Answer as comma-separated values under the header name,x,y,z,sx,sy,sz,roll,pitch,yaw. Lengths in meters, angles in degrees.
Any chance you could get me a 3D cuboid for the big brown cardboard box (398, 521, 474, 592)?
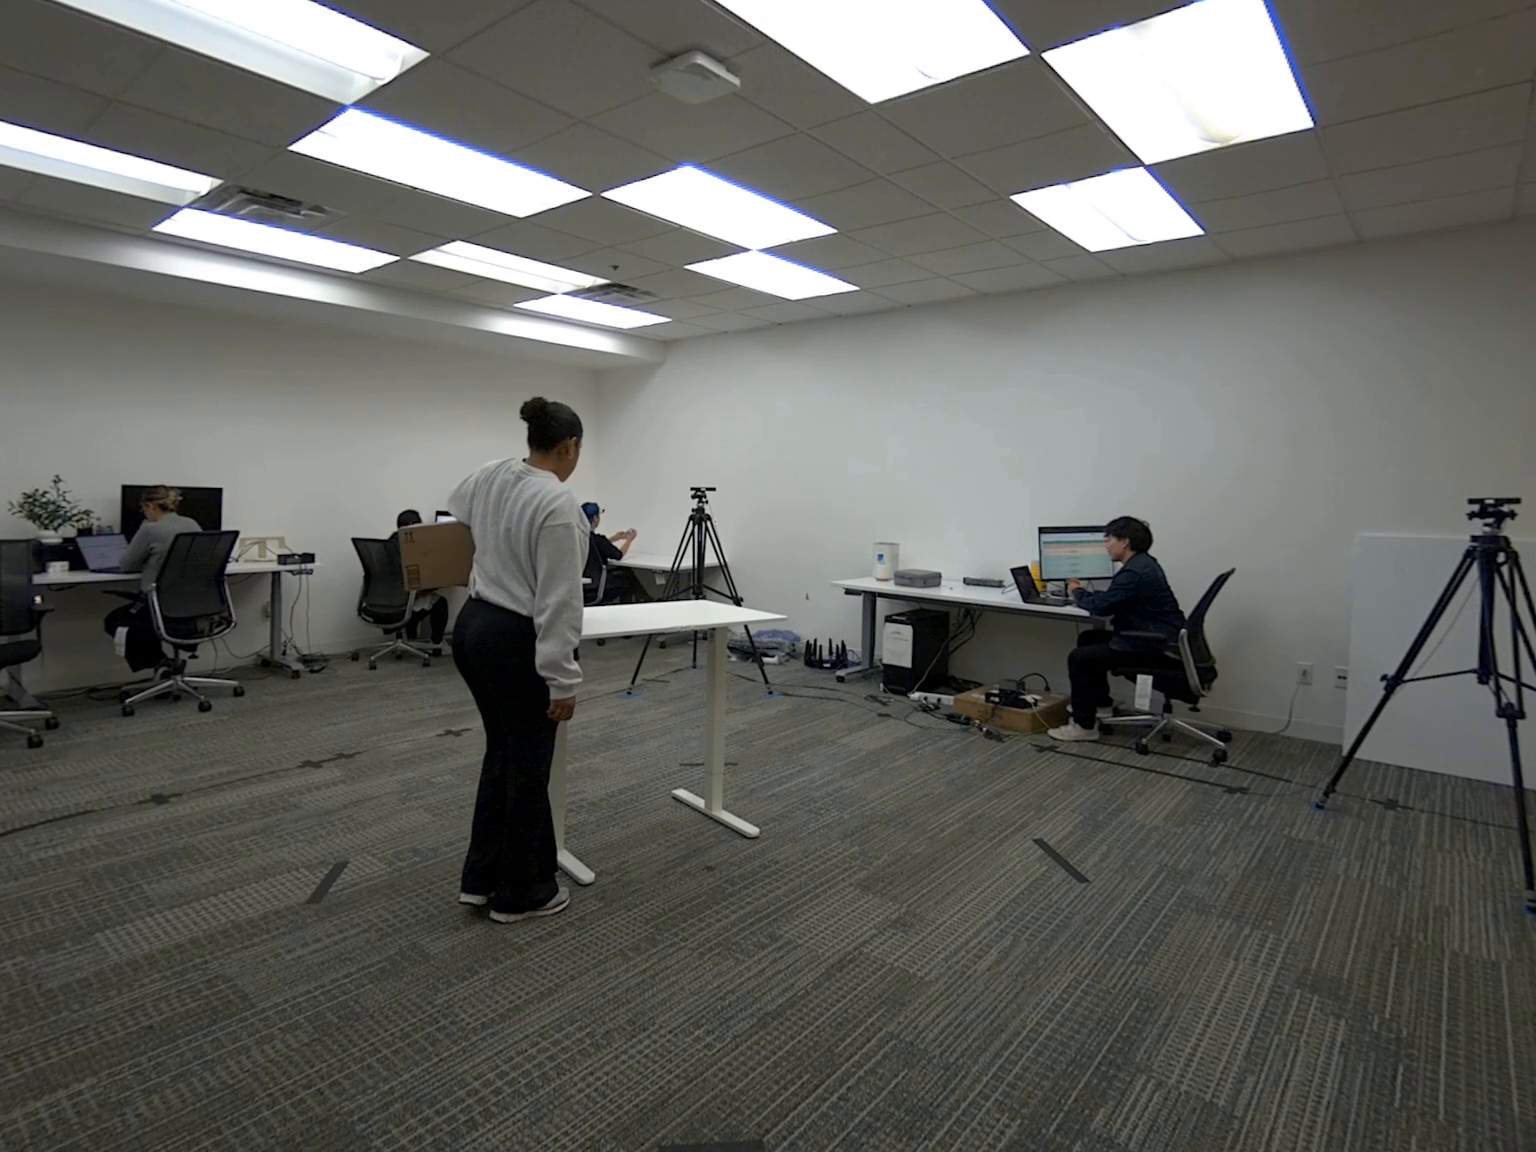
name,x,y,z,sx,sy,sz,roll,pitch,yaw
big brown cardboard box,-0.995,-0.109,3.071,0.585,0.232,0.422,-7,5,-7
